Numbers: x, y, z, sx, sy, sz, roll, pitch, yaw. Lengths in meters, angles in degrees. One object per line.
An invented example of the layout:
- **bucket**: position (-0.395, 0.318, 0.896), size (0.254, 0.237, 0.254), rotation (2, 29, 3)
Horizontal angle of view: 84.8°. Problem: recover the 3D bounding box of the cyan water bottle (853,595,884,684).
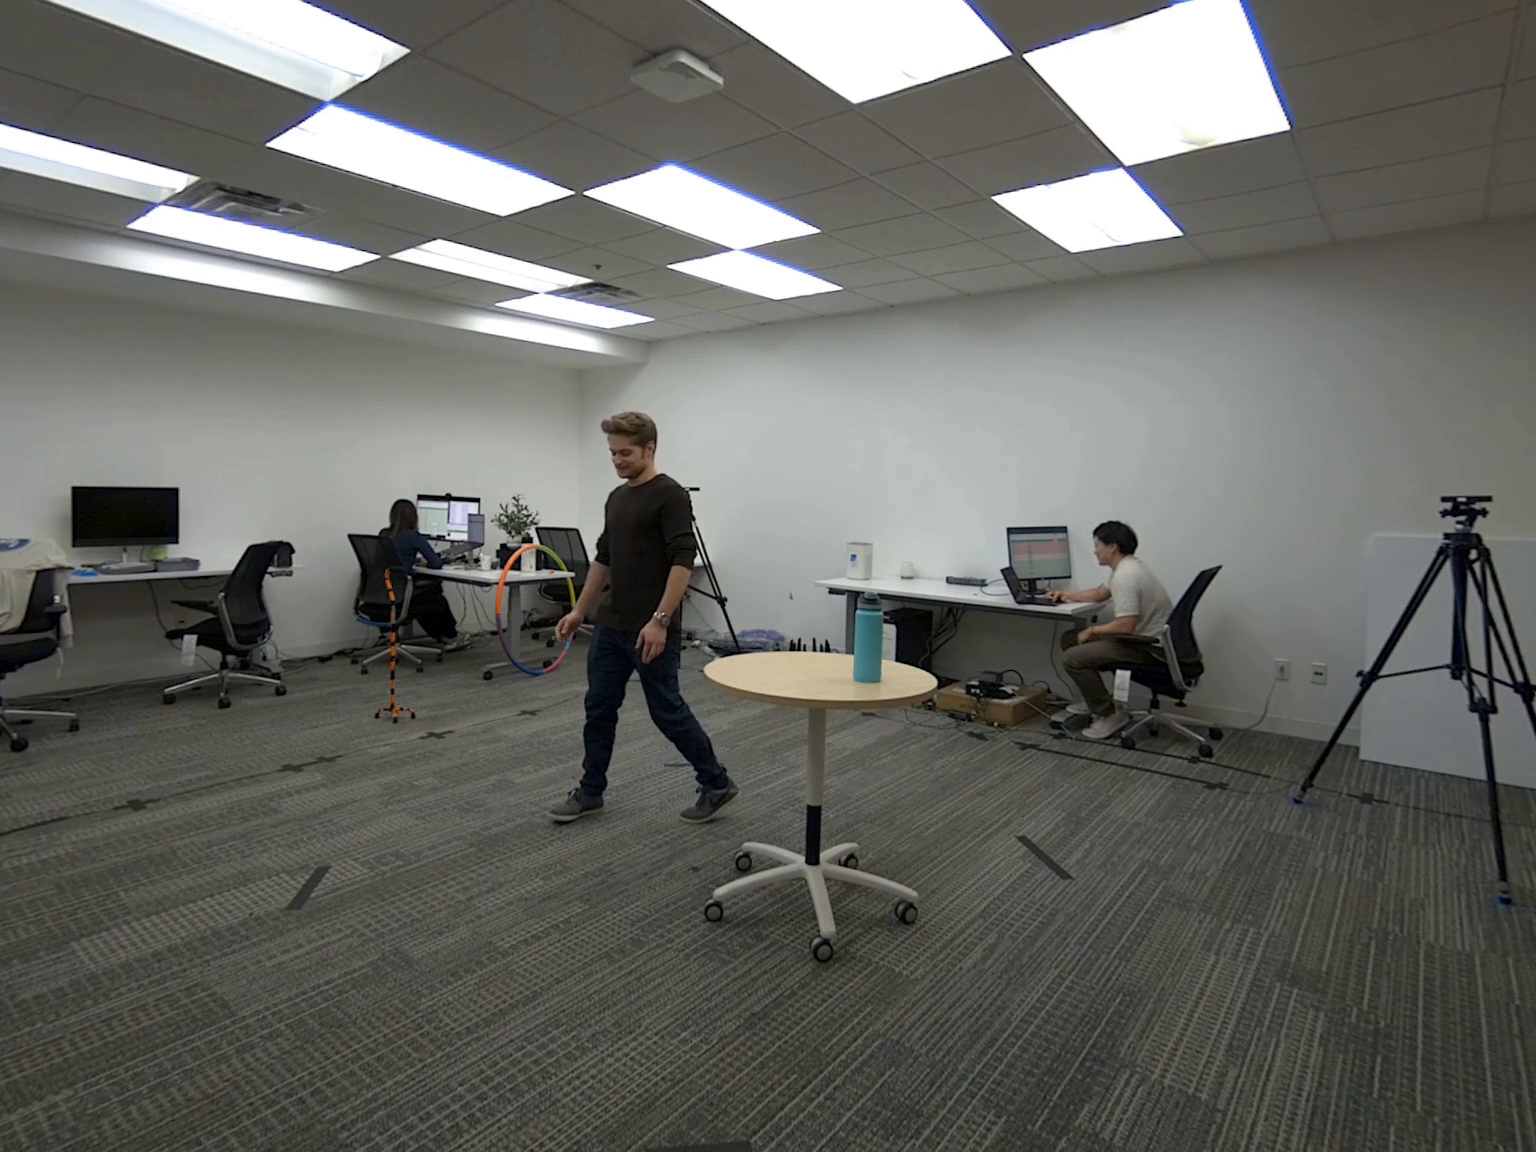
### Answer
- **cyan water bottle**: position (0.312, 0.191, 2.724), size (0.092, 0.283, 0.093), rotation (0, 3, -2)
